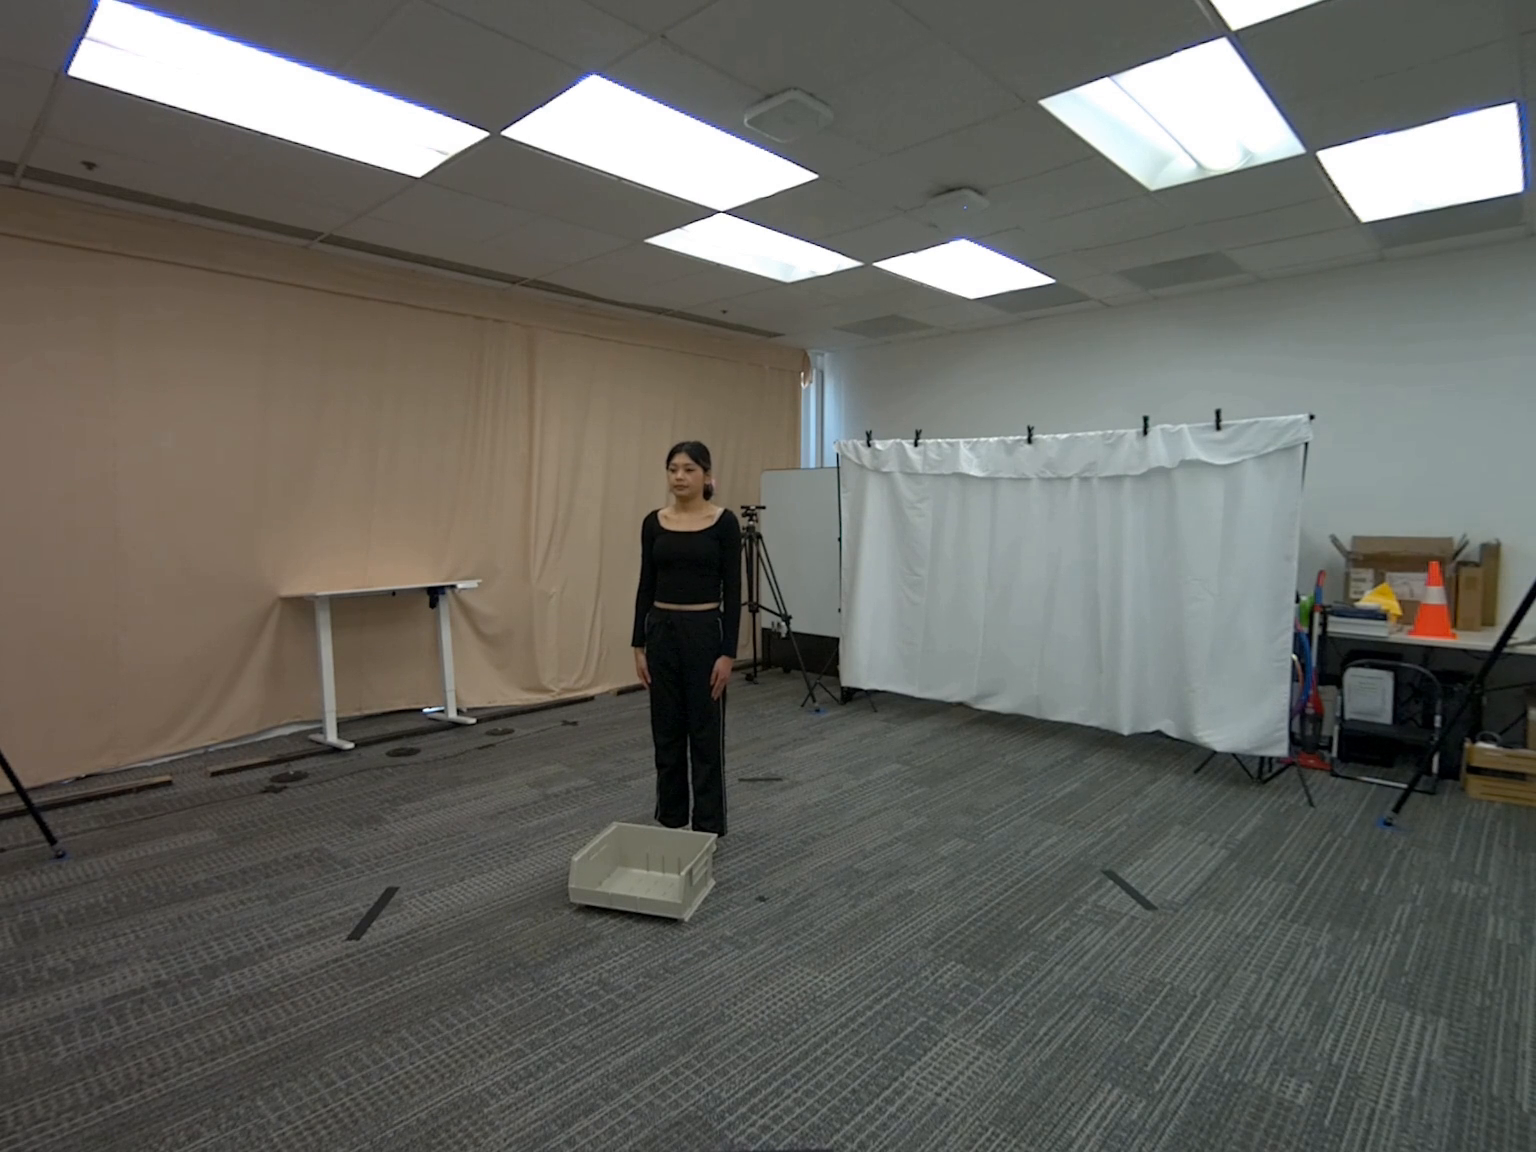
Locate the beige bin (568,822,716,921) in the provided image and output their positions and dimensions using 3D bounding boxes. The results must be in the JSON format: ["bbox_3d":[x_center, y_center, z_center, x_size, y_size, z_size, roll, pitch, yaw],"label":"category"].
[{"bbox_3d":[-0.441,1.063,2.995,0.430,0.189,0.371,0,3,17],"label":"beige bin"}]
